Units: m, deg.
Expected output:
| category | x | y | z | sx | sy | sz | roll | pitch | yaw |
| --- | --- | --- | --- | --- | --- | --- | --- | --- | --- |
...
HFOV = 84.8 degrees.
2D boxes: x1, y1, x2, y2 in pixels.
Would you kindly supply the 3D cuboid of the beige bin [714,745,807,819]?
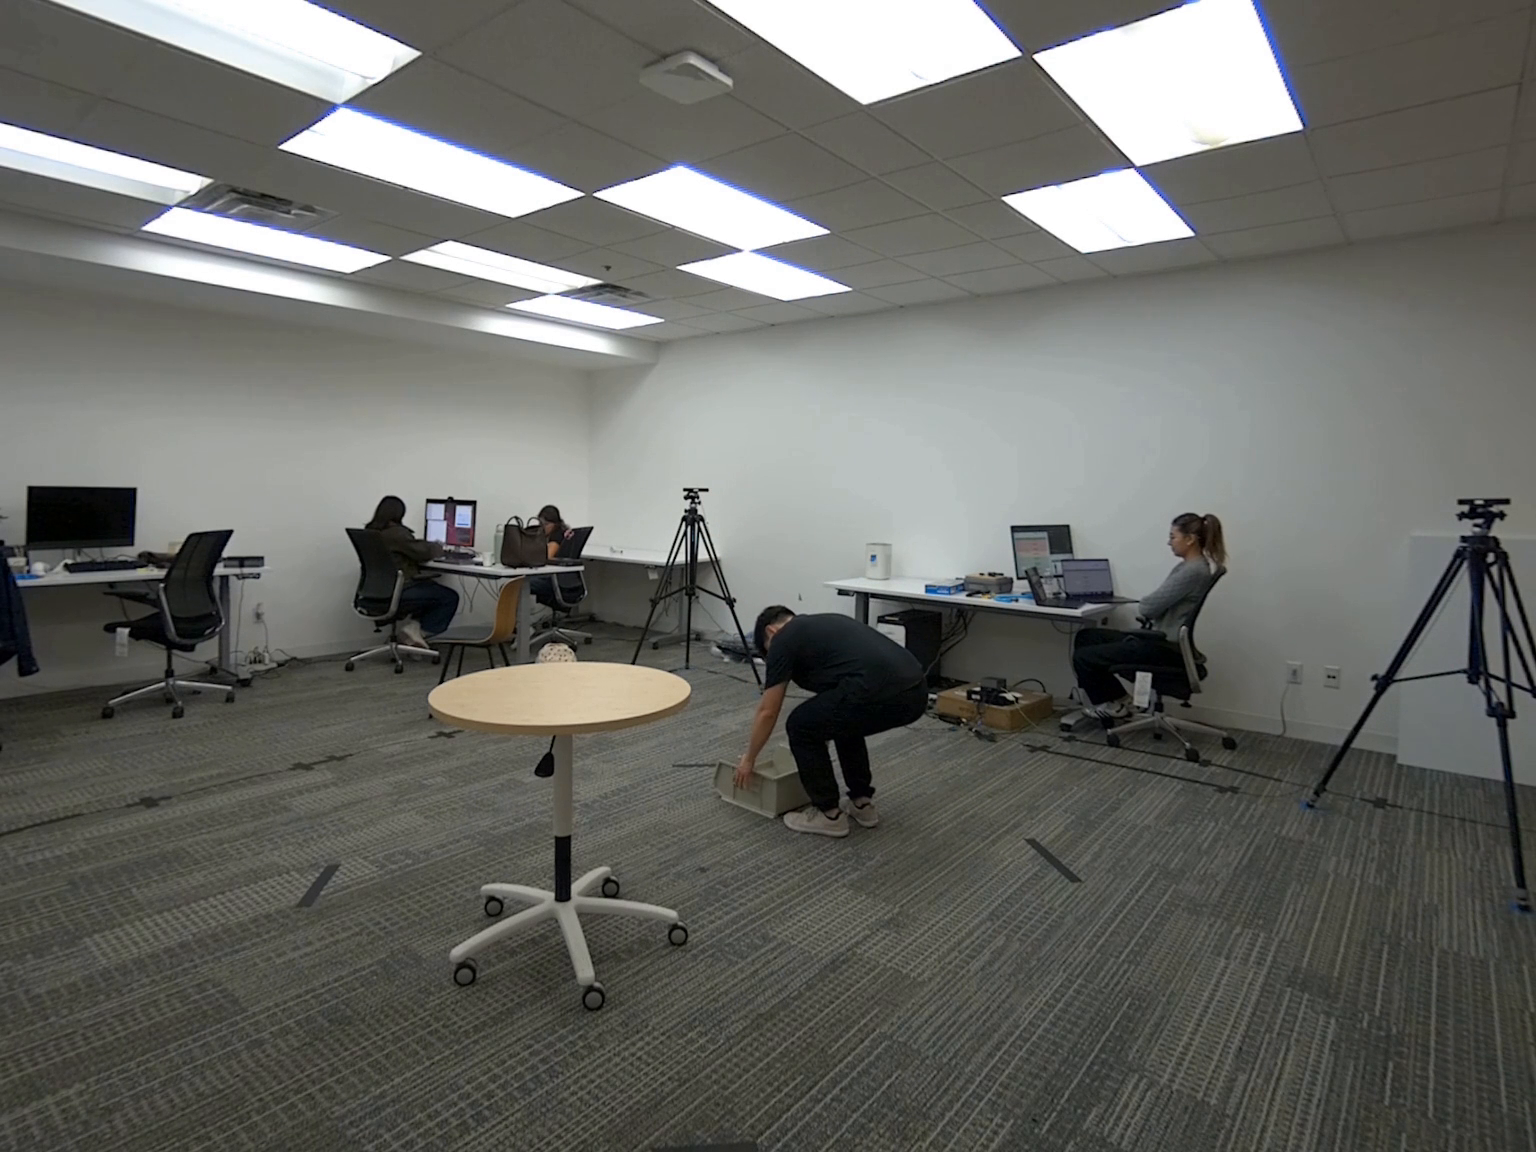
| category | x | y | z | sx | sy | sz | roll | pitch | yaw |
| --- | --- | --- | --- | --- | --- | --- | --- | --- | --- |
| beige bin | 0.016 | 0.909 | 3.862 | 0.390 | 0.188 | 0.410 | 7 | 8 | 43 |
